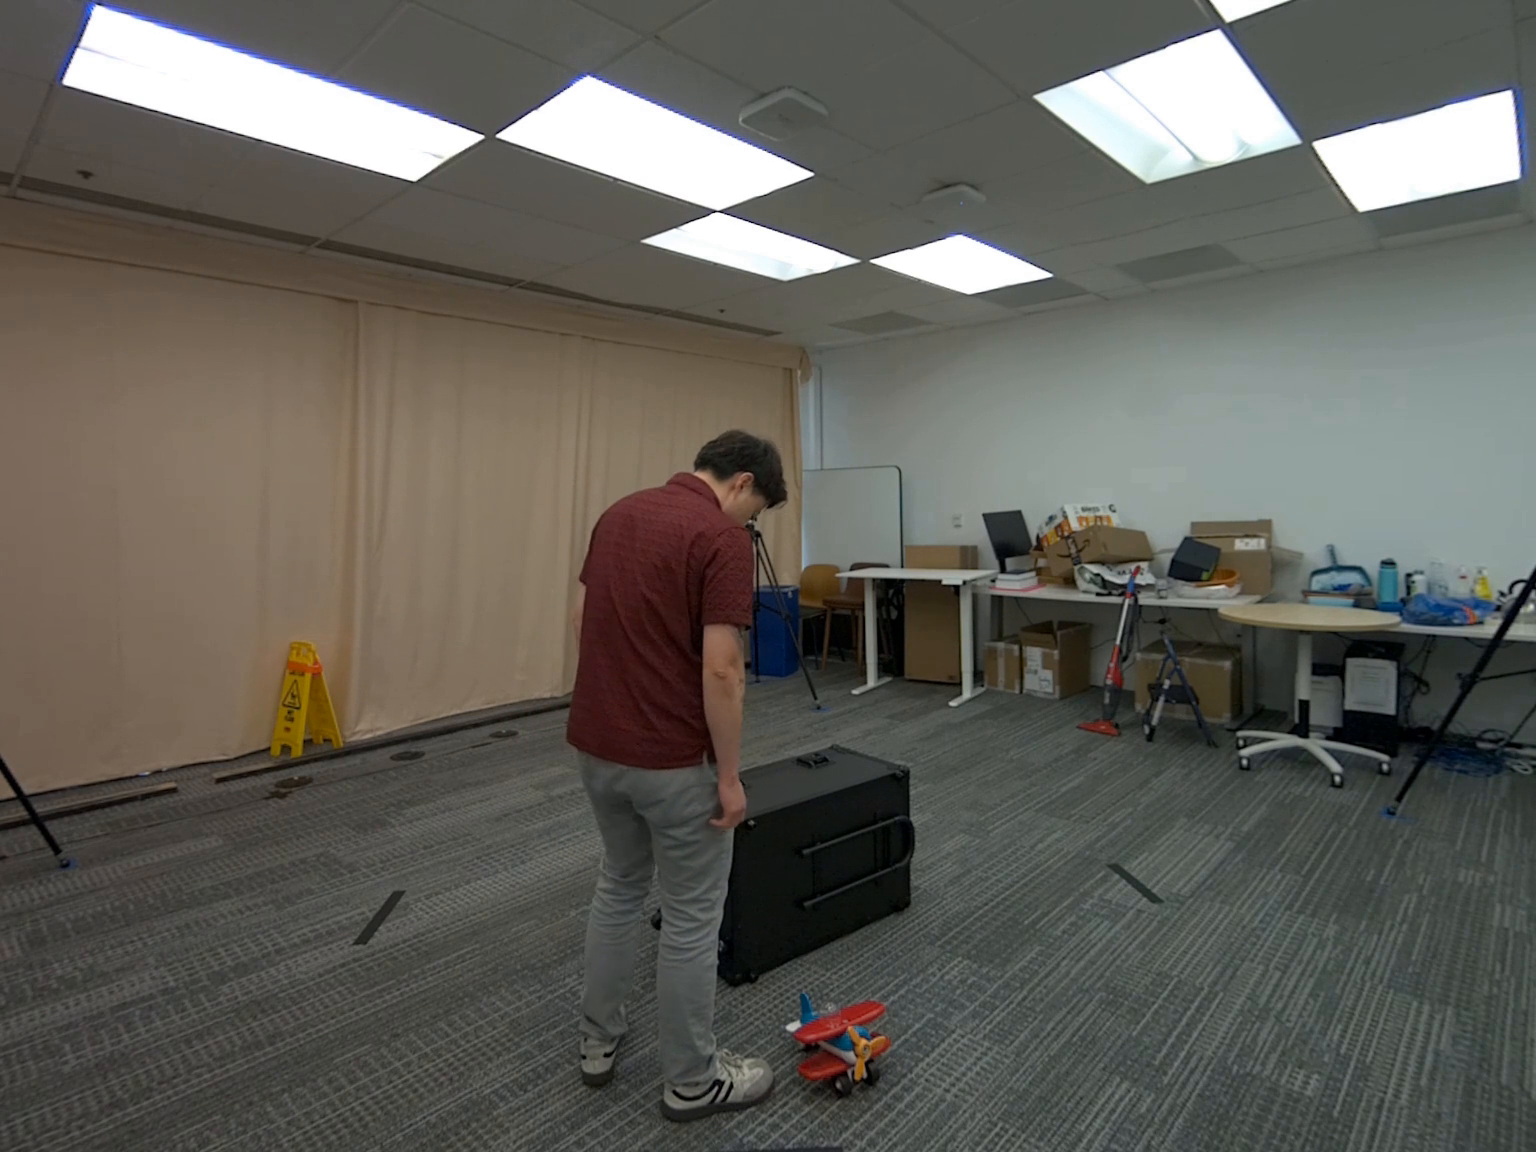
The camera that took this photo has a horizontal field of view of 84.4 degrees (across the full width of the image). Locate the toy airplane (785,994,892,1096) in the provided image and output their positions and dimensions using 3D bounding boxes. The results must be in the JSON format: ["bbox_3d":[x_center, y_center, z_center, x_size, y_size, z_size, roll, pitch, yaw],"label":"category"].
[{"bbox_3d":[0.148,1.136,2.066,0.267,0.156,0.244,3,6,30],"label":"toy airplane"}]
